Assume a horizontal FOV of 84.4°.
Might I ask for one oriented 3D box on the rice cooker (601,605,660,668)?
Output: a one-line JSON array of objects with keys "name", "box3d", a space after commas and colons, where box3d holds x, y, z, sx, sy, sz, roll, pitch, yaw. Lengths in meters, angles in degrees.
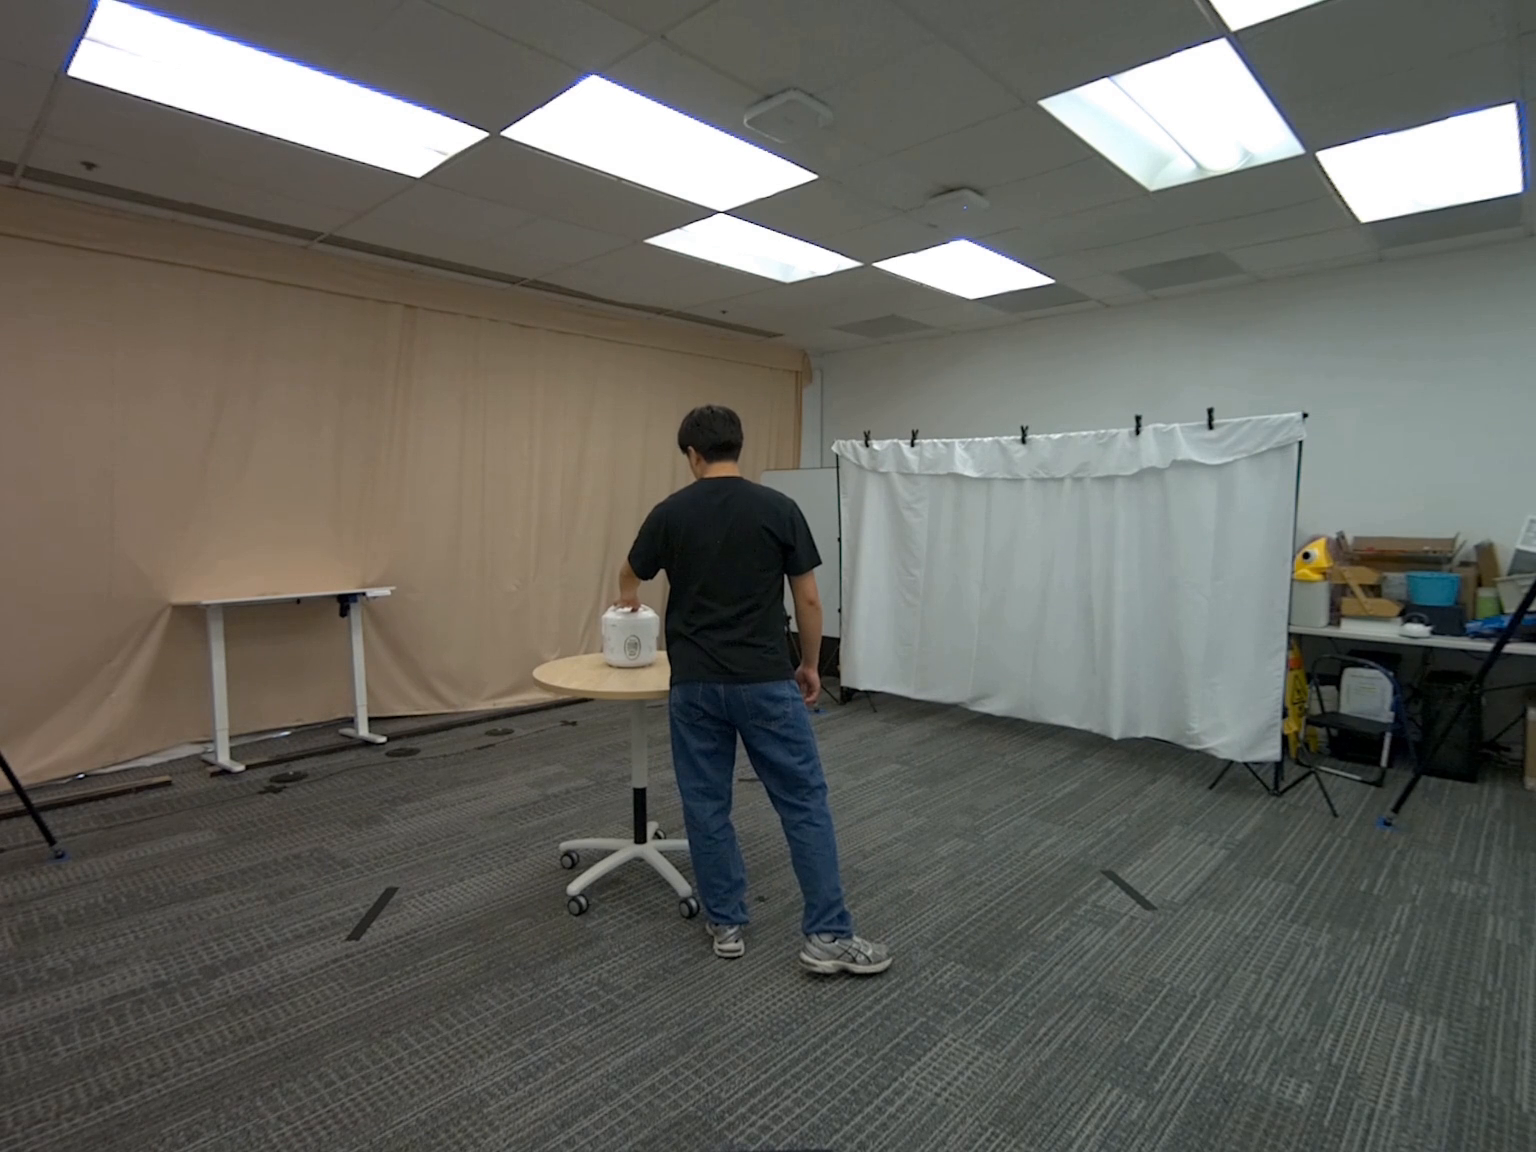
[{"name": "rice cooker", "box3d": [-0.523, 0.217, 3.200, 0.218, 0.232, 0.220, -2, 4, -12]}]
